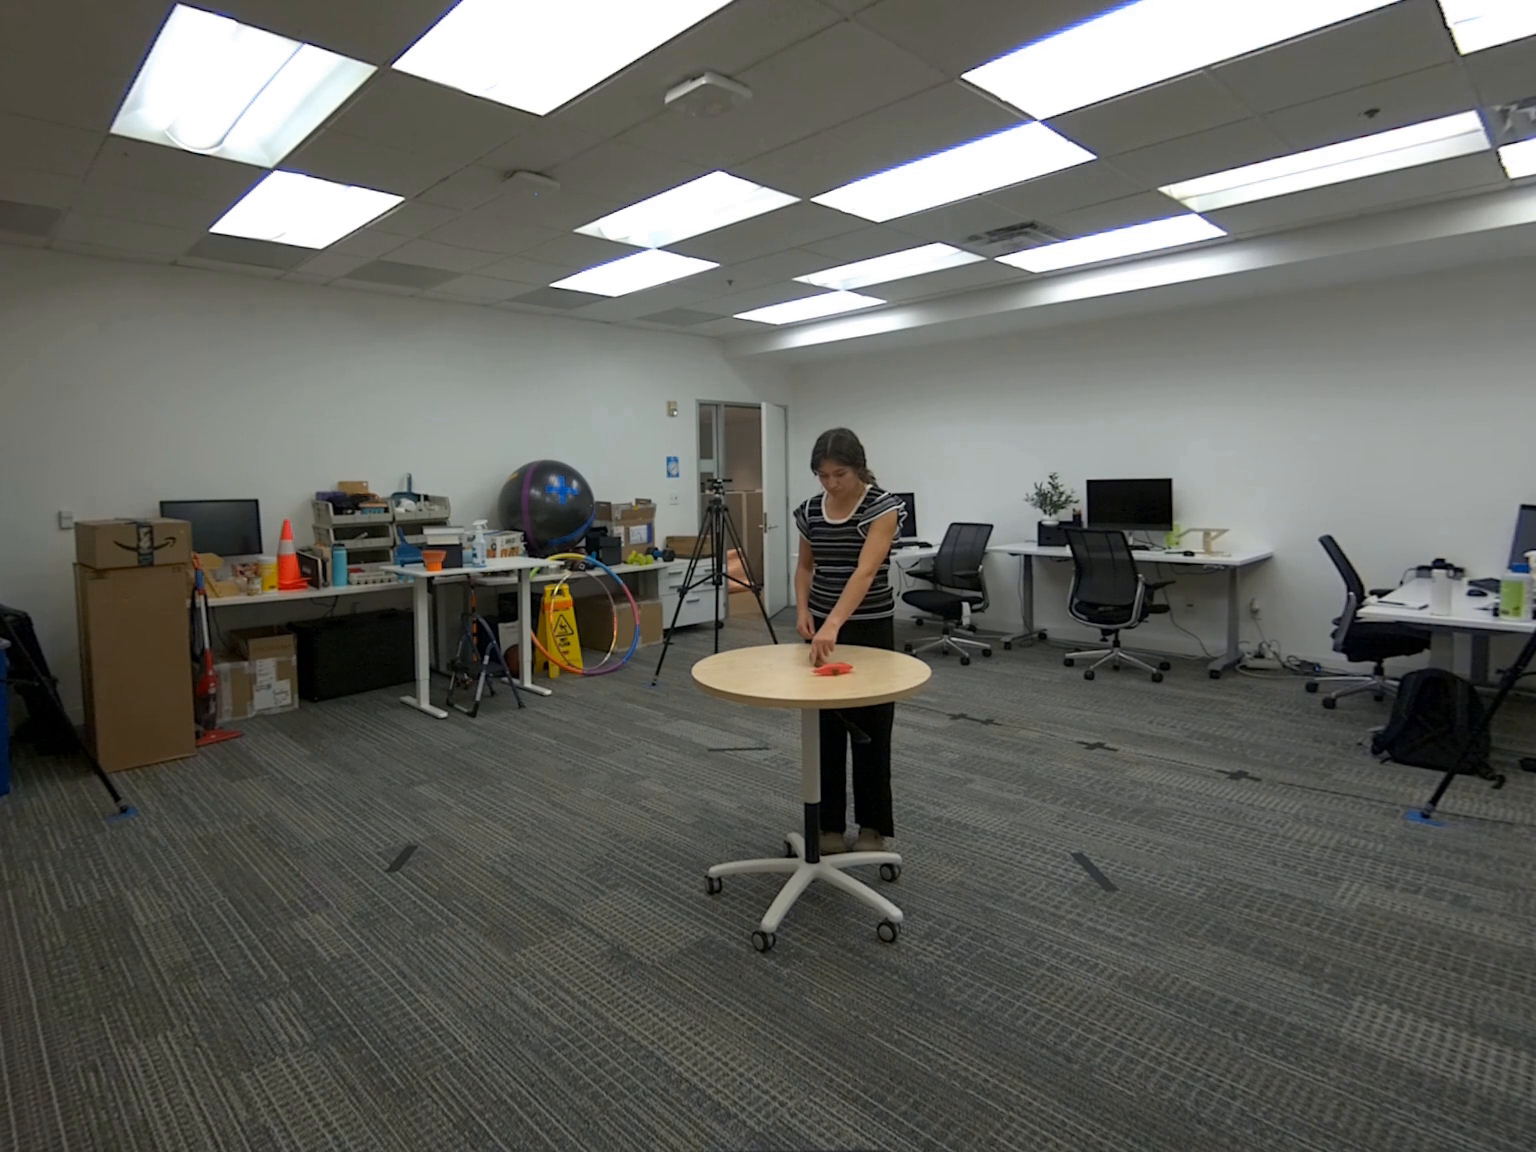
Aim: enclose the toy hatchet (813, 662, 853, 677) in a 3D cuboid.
[{"bbox_3d":[0.211,0.280,2.773,0.132,0.029,0.270,-7,8,5],"label":"toy hatchet"}]
